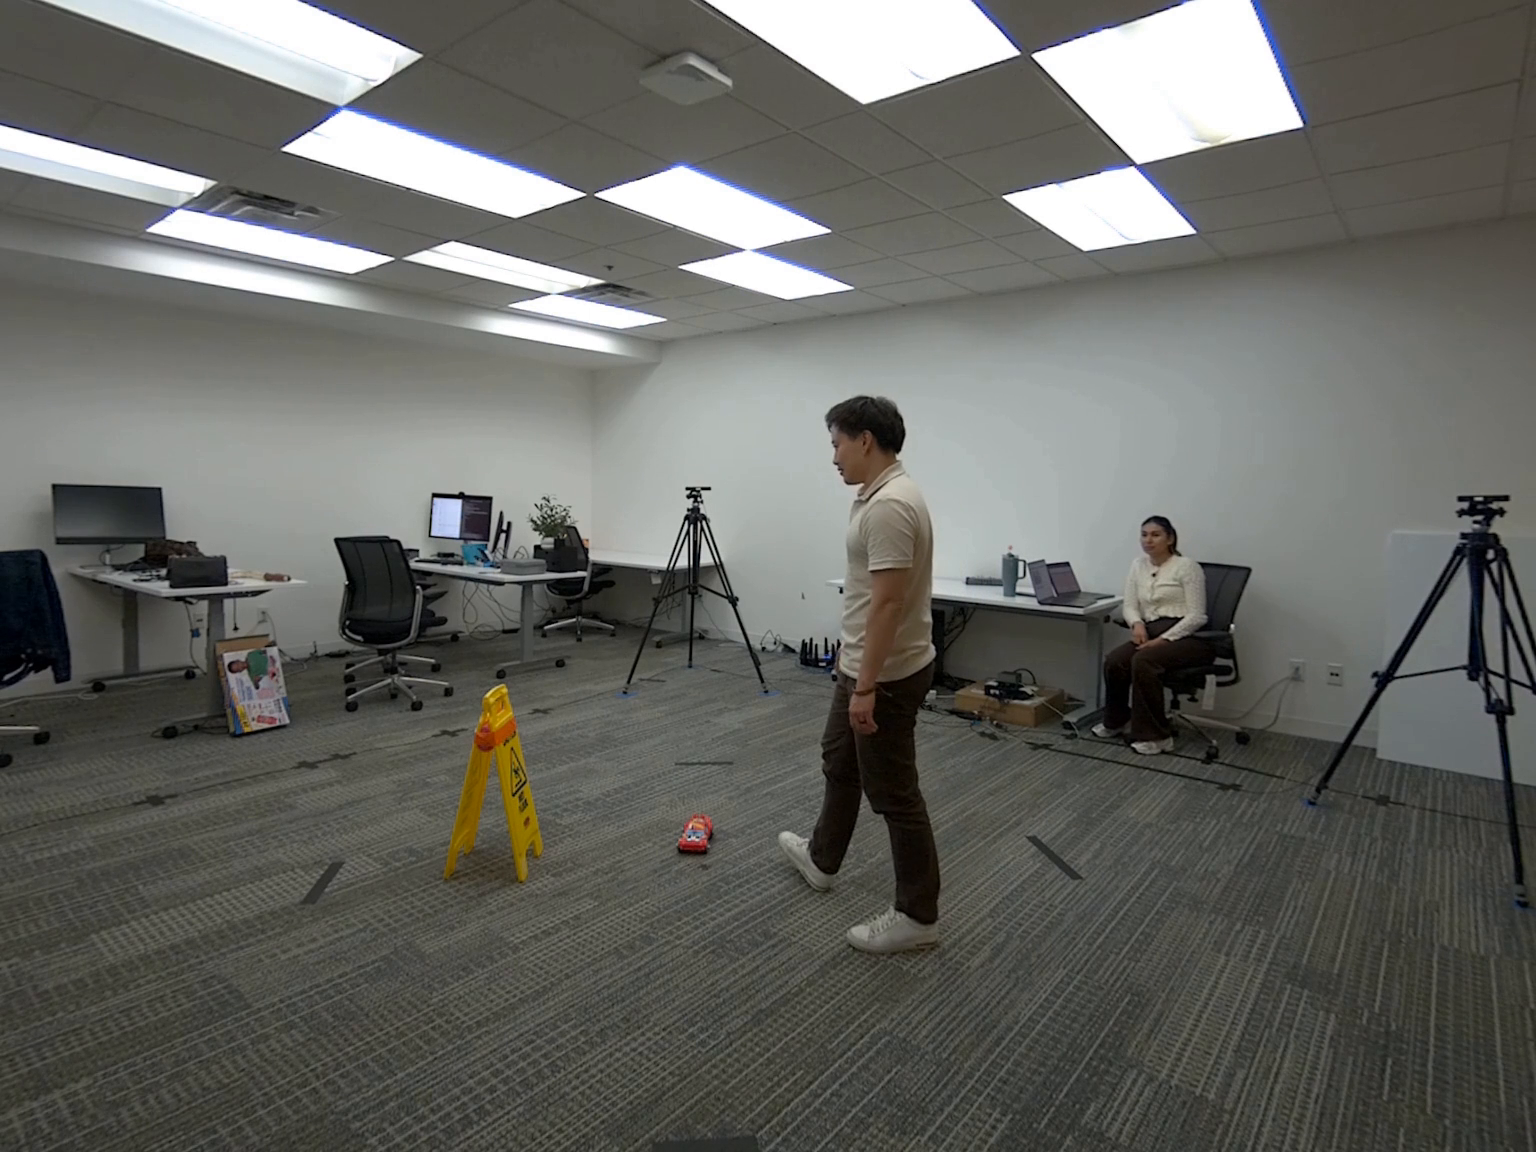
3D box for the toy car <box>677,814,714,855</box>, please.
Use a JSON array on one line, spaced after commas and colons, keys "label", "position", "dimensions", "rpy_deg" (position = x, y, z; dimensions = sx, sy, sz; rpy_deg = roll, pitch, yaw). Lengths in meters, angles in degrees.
[{"label": "toy car", "position": [-0.286, 1.011, 3.340], "dimensions": [0.131, 0.082, 0.256], "rpy_deg": [0, 16, 5]}]
